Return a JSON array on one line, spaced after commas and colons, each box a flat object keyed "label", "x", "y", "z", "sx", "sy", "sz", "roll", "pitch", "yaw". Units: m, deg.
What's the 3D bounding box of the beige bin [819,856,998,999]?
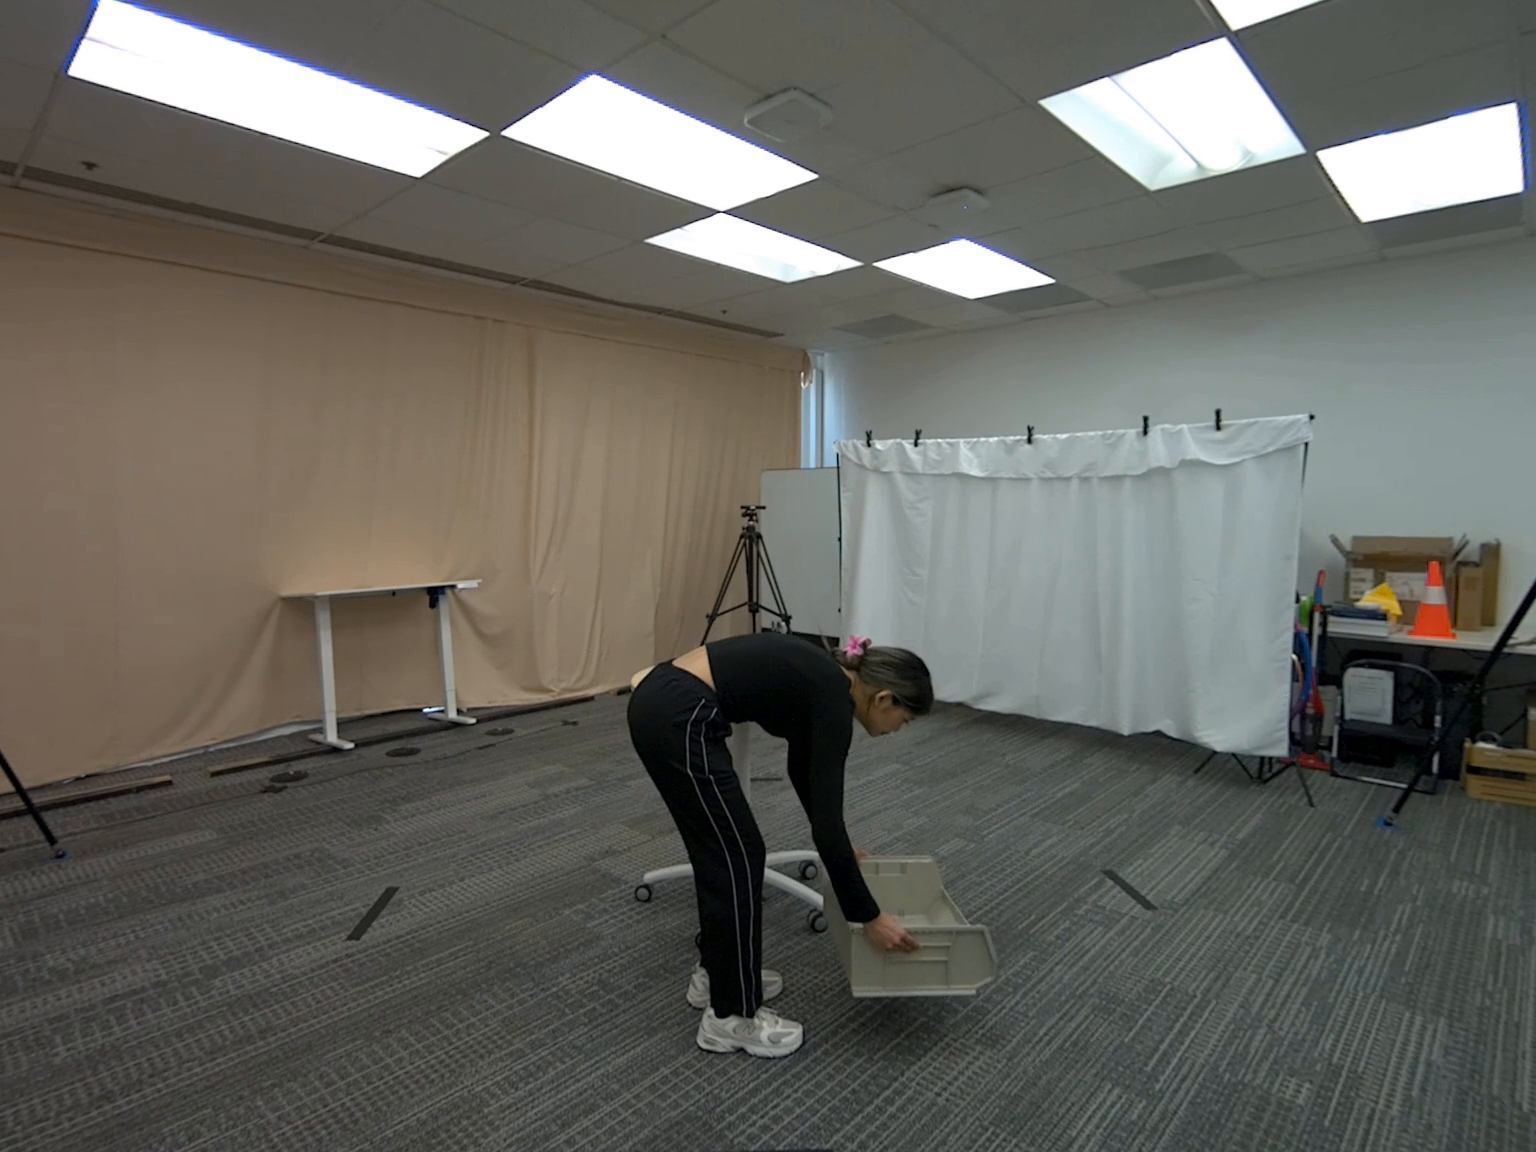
[{"label": "beige bin", "x": 0.379, "y": 0.950, "z": 2.294, "sx": 0.375, "sy": 0.188, "sz": 0.426, "roll": 0, "pitch": 4, "yaw": -6}]
